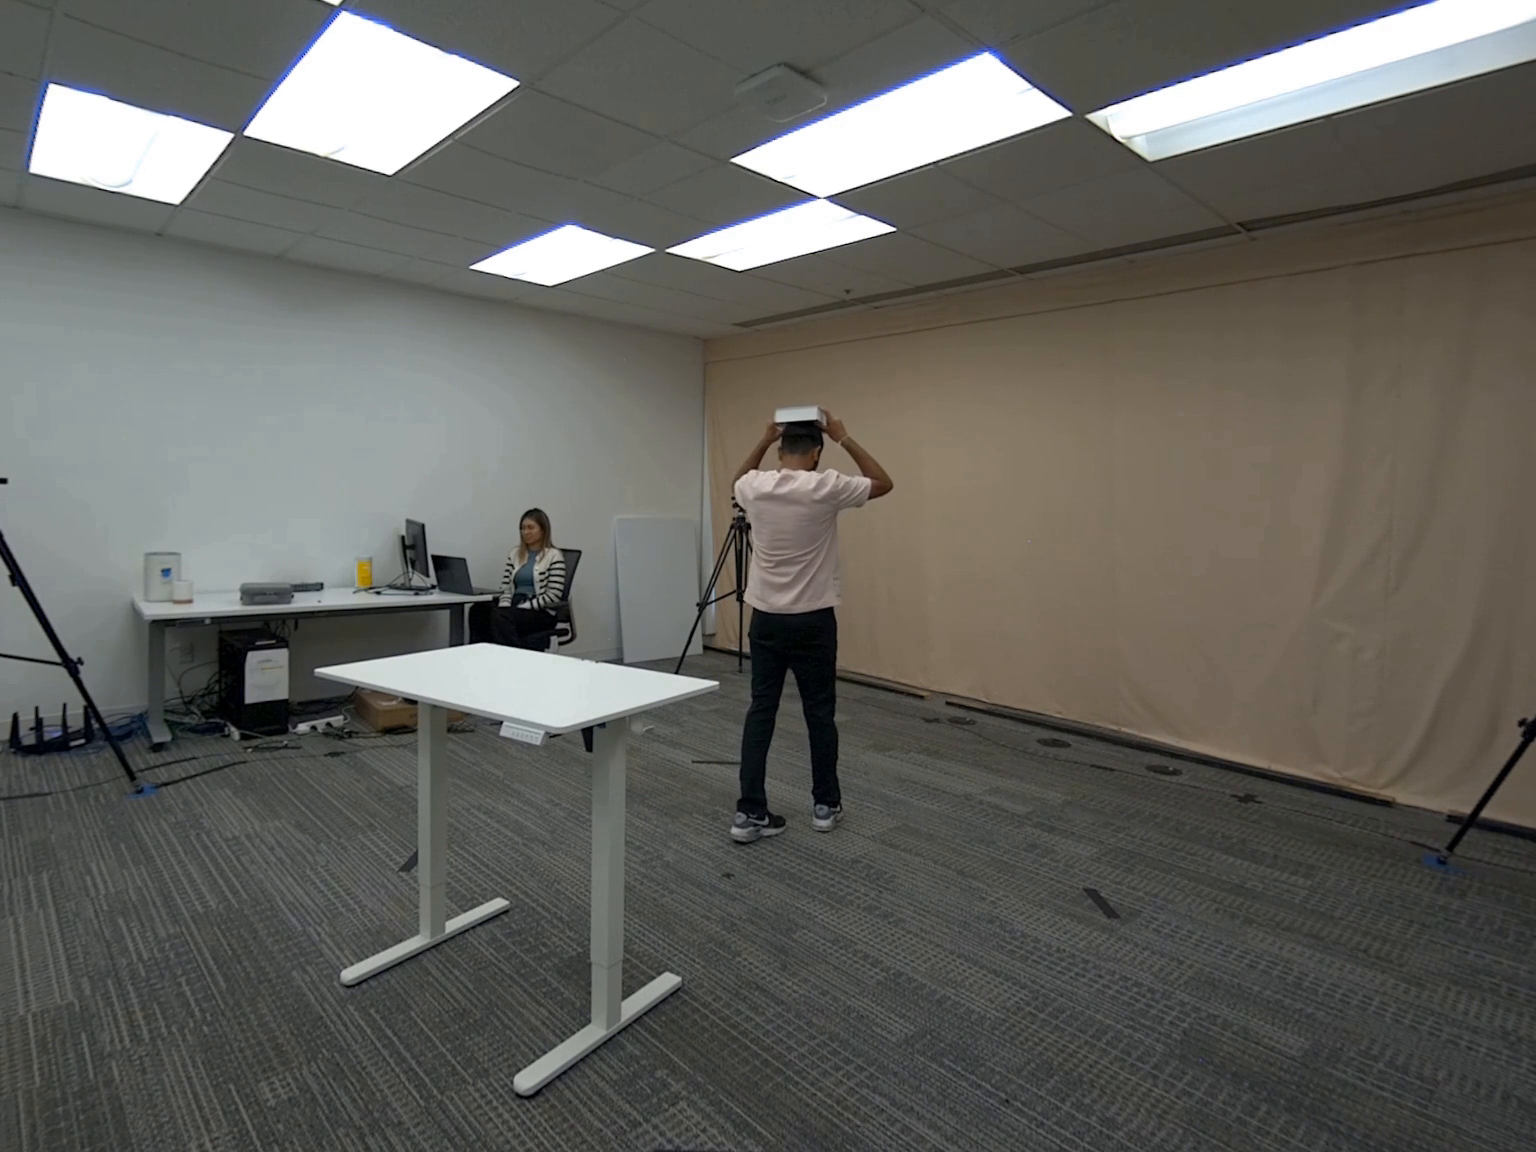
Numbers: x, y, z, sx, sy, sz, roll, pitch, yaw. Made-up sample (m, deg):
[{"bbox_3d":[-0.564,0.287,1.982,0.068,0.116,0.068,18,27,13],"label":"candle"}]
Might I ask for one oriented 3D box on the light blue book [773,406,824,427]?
[{"bbox_3d":[0.153,-0.658,3.596,0.194,0.059,0.256,-1,-4,18],"label":"light blue book"}]
